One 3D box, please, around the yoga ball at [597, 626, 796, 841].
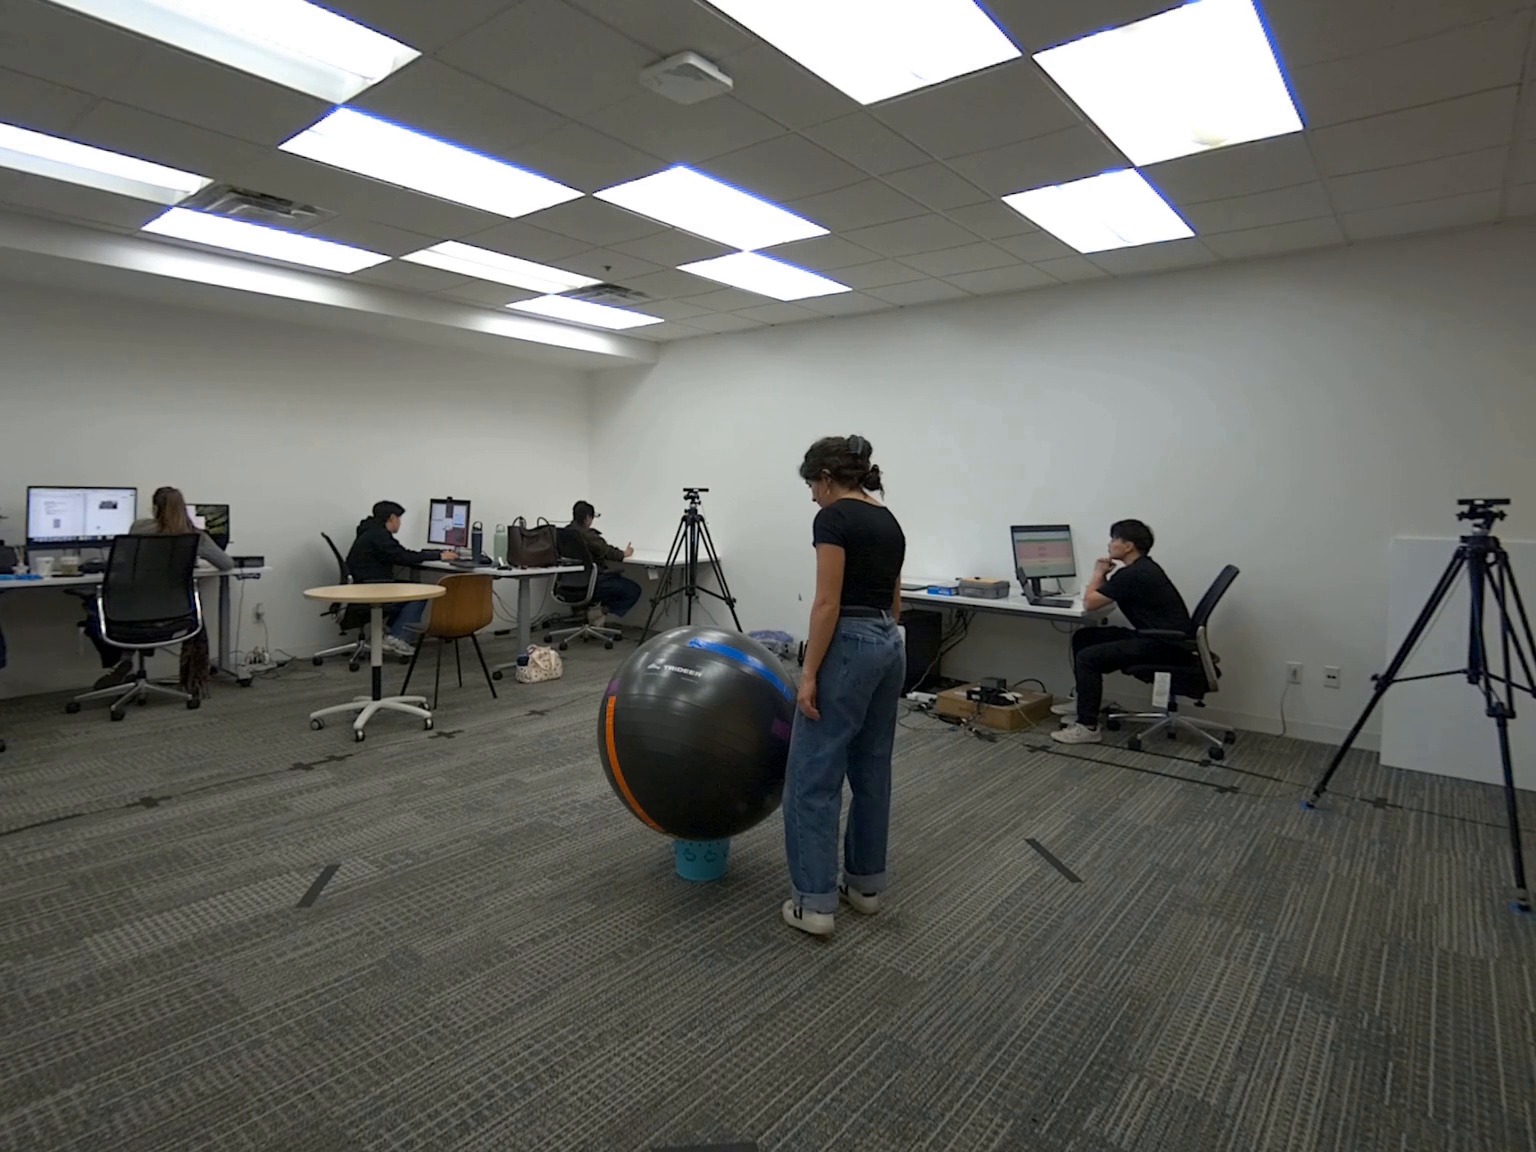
[{"bbox_3d":[-0.248,0.559,3.089,0.757,0.756,0.762,1,4,-2],"label":"yoga ball"}]
